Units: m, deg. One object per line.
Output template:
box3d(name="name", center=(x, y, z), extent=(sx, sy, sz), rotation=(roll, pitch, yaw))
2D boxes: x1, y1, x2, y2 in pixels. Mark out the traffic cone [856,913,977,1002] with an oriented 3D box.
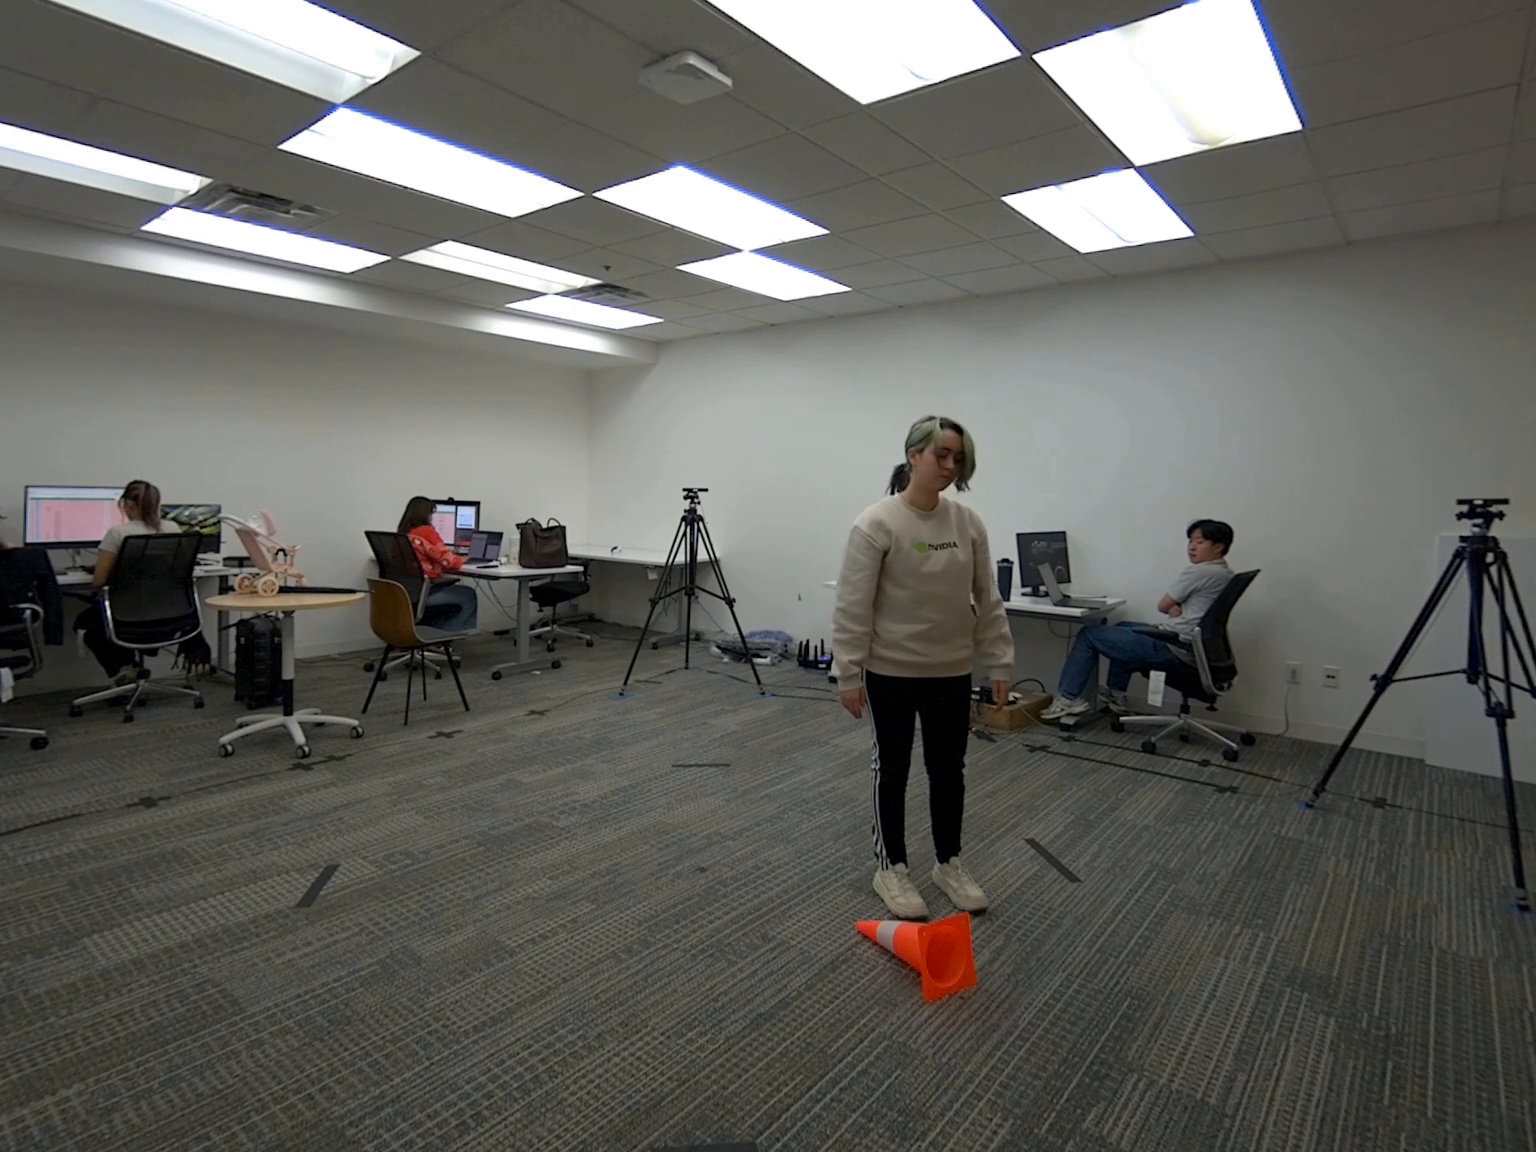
box3d(name="traffic cone", center=(0.393, 1.084, 2.538), extent=(0.197, 0.206, 0.392), rotation=(-2, -6, -35))
